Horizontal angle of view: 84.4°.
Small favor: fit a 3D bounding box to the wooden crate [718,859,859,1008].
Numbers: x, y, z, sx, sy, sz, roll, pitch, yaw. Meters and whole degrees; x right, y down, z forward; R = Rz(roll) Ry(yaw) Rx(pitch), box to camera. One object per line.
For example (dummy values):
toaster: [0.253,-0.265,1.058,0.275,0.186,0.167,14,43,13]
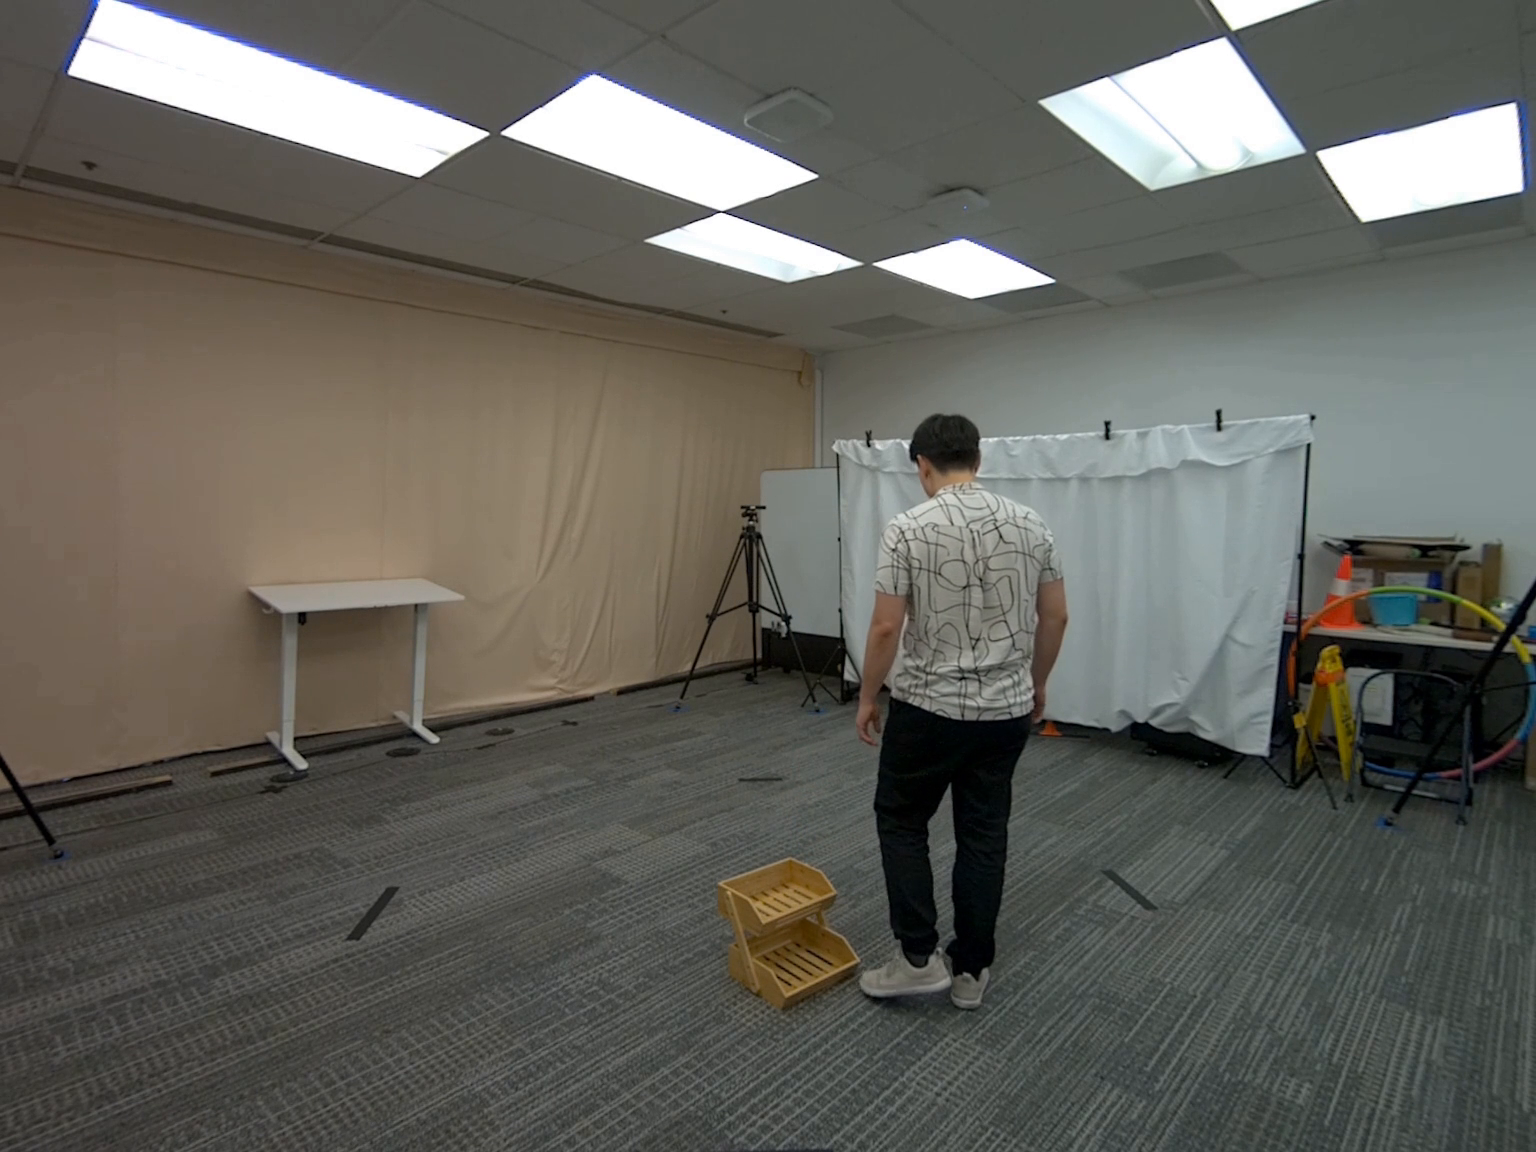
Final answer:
wooden crate: [0.065,1.052,2.504,0.314,0.273,0.312,-3,4,-40]
